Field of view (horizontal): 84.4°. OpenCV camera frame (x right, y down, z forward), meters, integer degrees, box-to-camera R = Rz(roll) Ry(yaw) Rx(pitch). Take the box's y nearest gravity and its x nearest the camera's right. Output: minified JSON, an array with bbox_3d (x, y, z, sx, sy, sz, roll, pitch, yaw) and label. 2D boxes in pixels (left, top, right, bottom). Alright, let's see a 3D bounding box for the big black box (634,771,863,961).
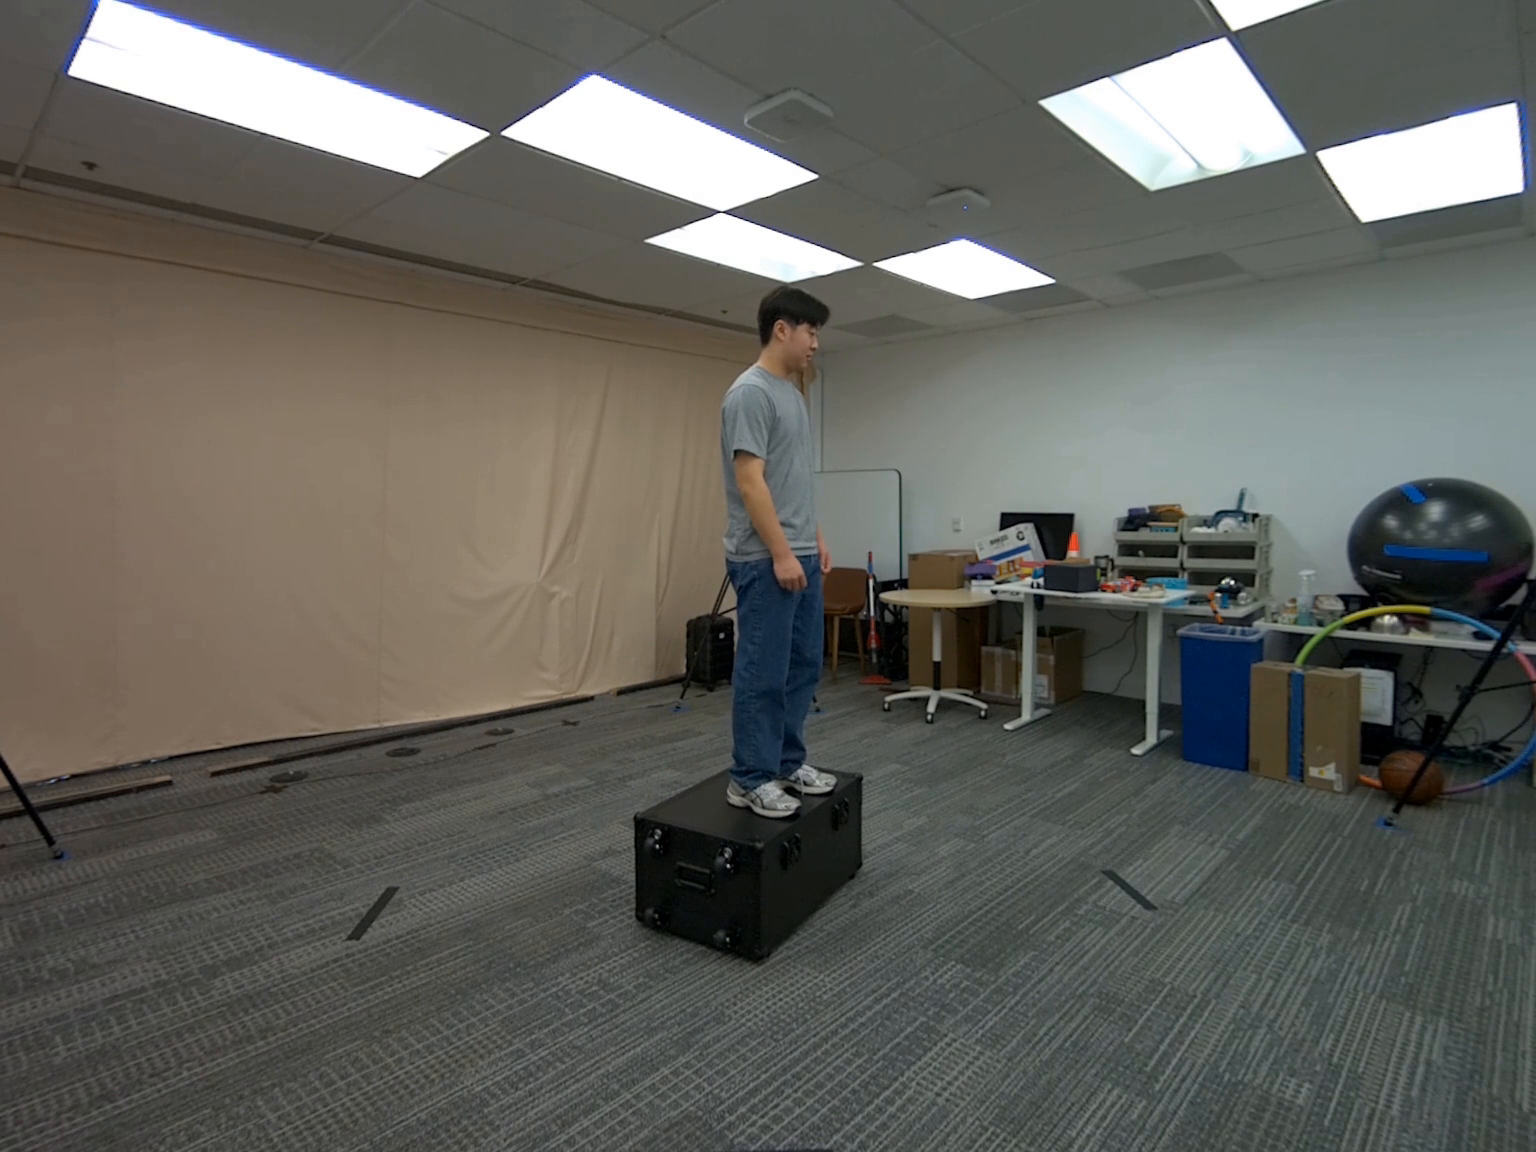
[{"bbox_3d":[-0.057,0.956,2.953,0.536,0.395,0.838,3,5,30],"label":"big black box"}]
